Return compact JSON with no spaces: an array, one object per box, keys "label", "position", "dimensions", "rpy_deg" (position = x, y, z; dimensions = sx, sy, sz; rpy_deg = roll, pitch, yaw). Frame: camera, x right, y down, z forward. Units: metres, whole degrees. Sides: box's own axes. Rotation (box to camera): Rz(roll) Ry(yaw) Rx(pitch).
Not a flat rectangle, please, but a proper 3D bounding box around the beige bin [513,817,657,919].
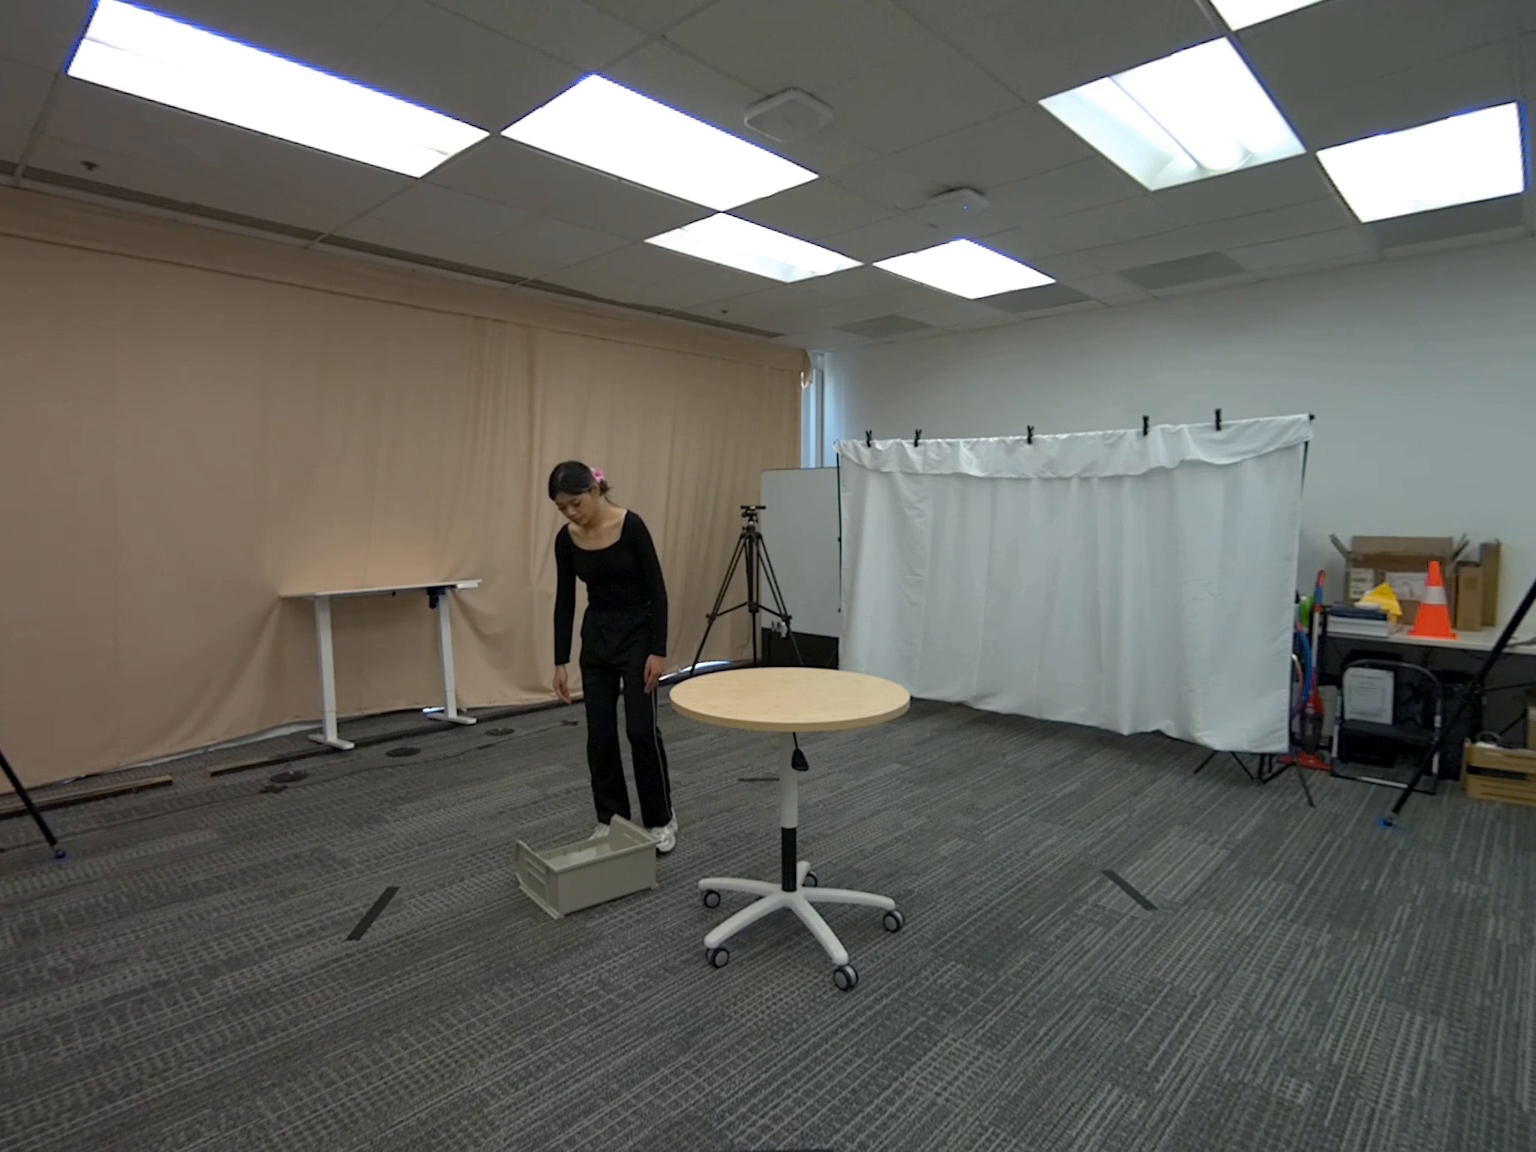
[{"label":"beige bin","position":[-0.670,1.049,3.096],"dimensions":[0.410,0.188,0.390],"rpy_deg":[-3,6,-38]}]
